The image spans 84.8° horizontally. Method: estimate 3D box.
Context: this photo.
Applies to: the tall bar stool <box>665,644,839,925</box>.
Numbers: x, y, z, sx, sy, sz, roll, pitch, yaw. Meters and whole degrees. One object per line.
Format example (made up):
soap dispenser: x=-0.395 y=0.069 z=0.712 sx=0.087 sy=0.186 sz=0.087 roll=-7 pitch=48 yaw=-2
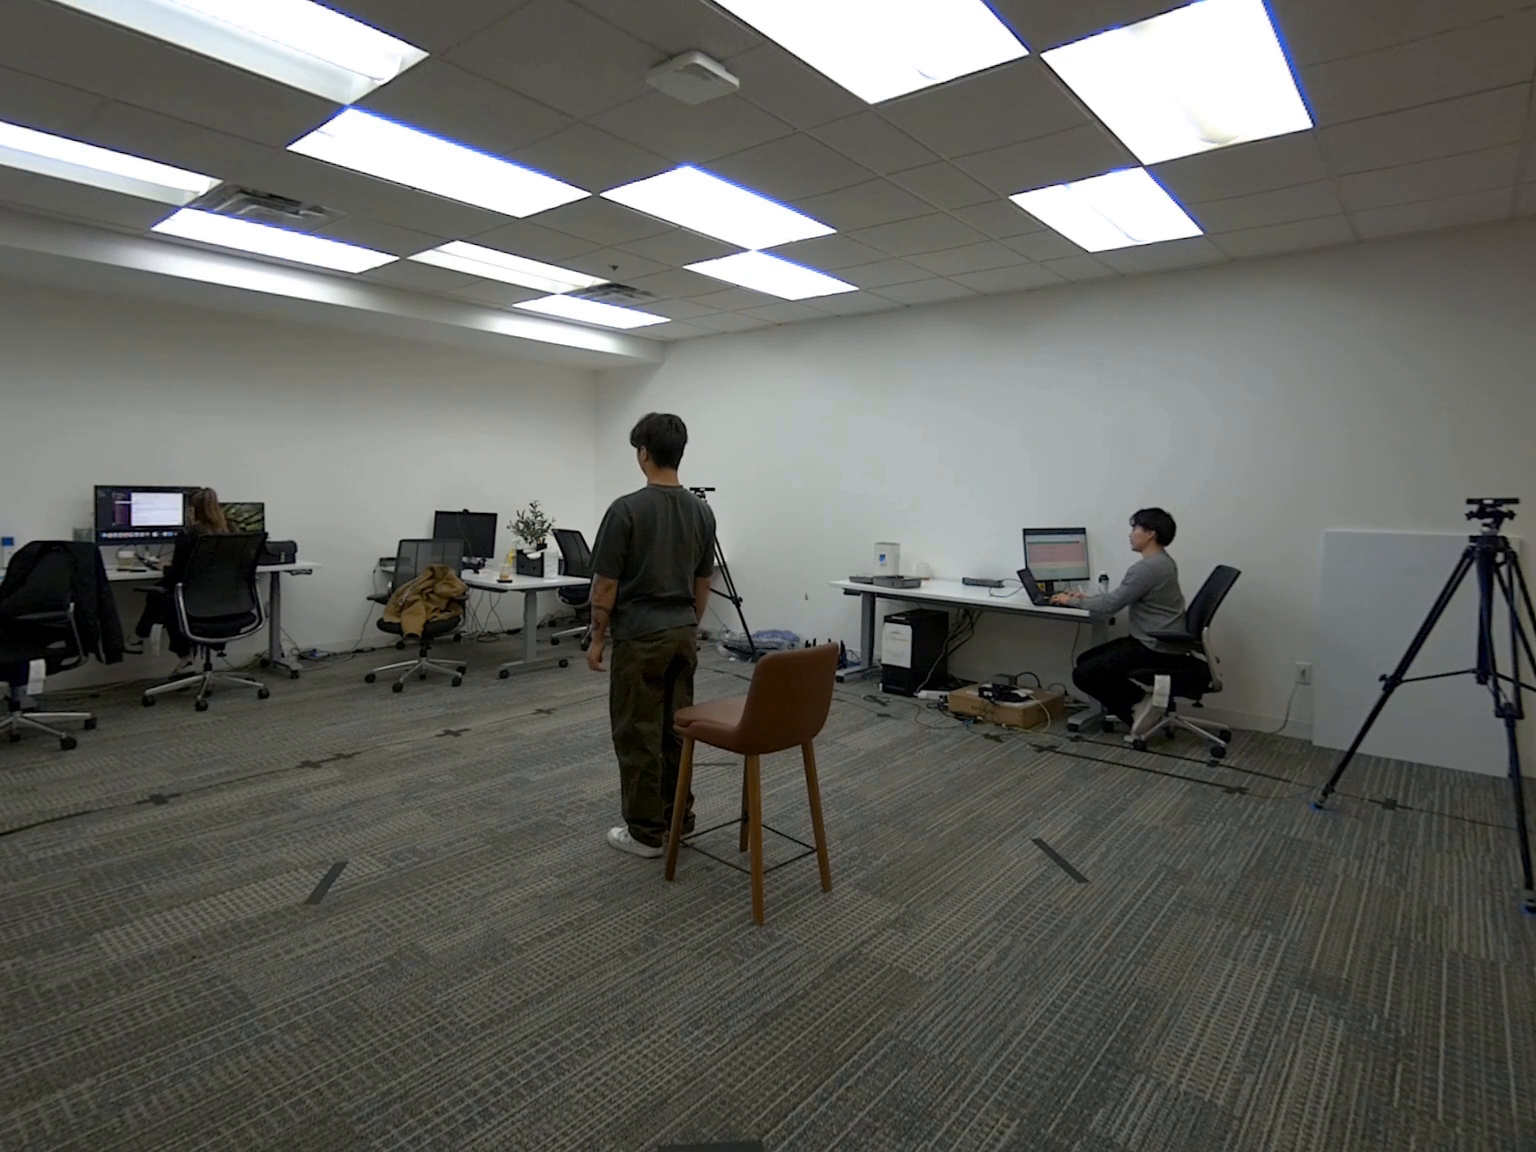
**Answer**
tall bar stool: x=-0.059 y=0.647 z=2.963 sx=0.484 sy=0.886 sz=0.442 roll=8 pitch=6 yaw=44
